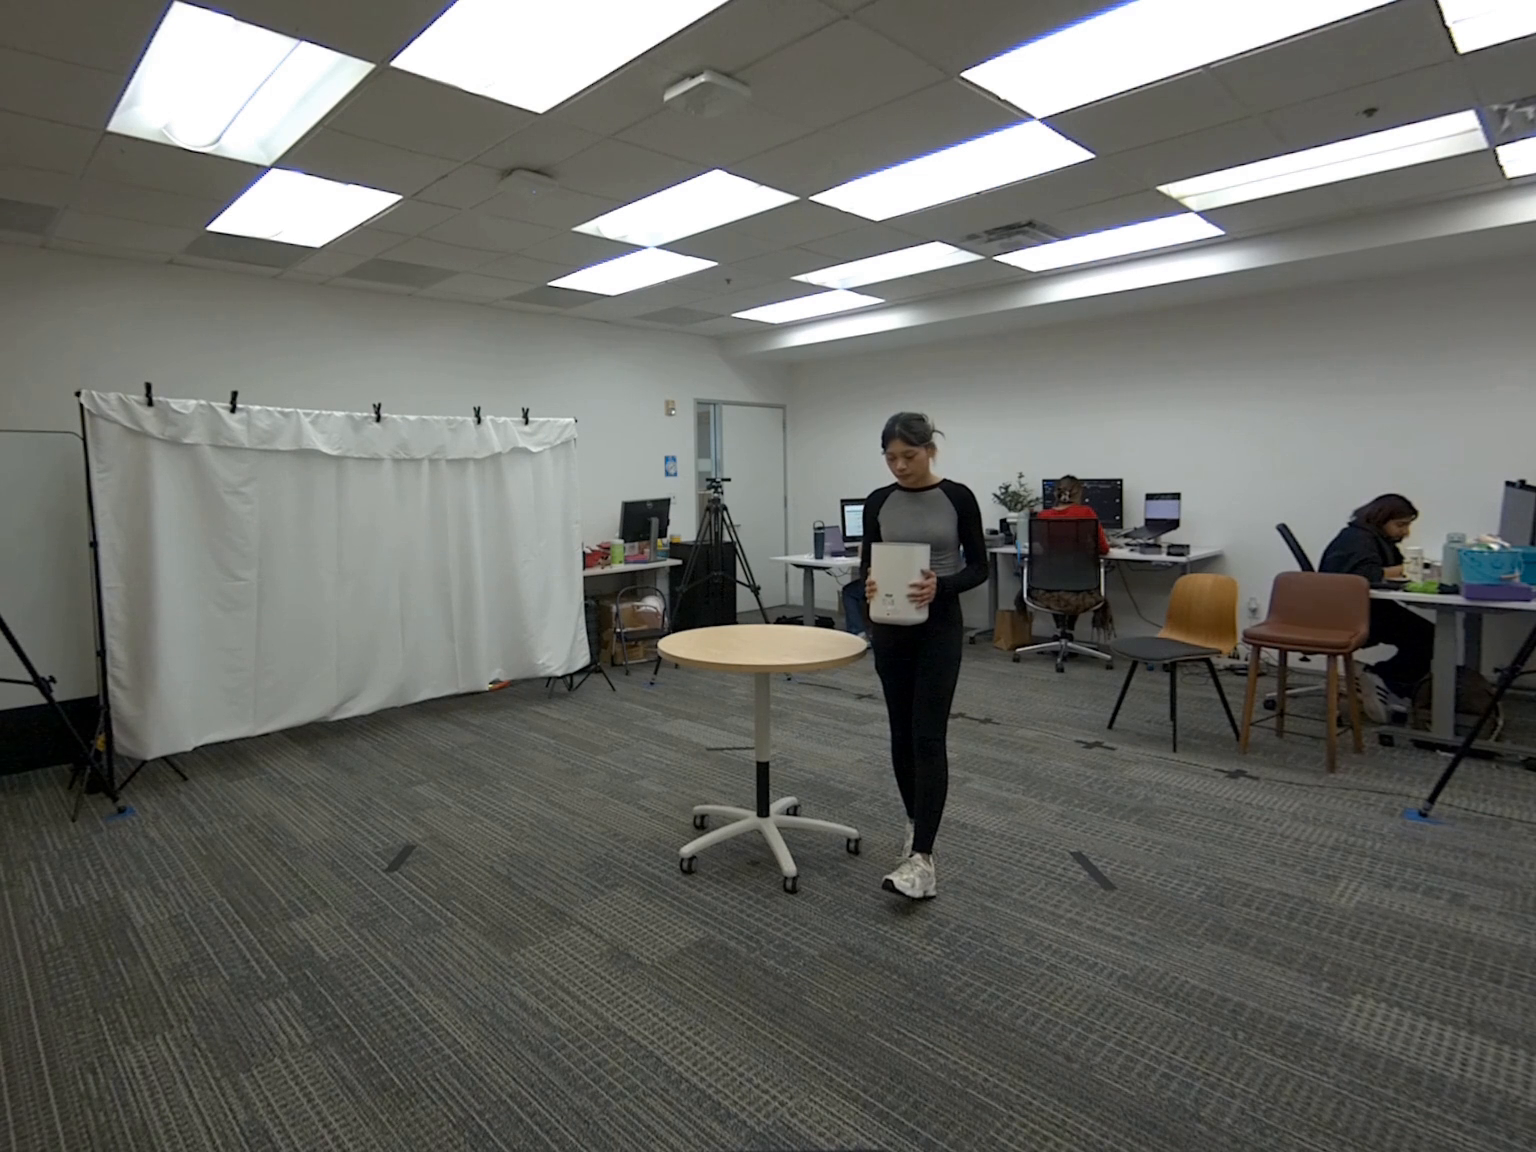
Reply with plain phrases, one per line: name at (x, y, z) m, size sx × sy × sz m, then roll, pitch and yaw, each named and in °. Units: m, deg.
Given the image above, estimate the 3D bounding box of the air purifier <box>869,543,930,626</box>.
air purifier at (0.461, 0.027, 2.858) m, size 0.176 × 0.265 × 0.167 m, roll 5°, pitch 2°, yaw 26°
